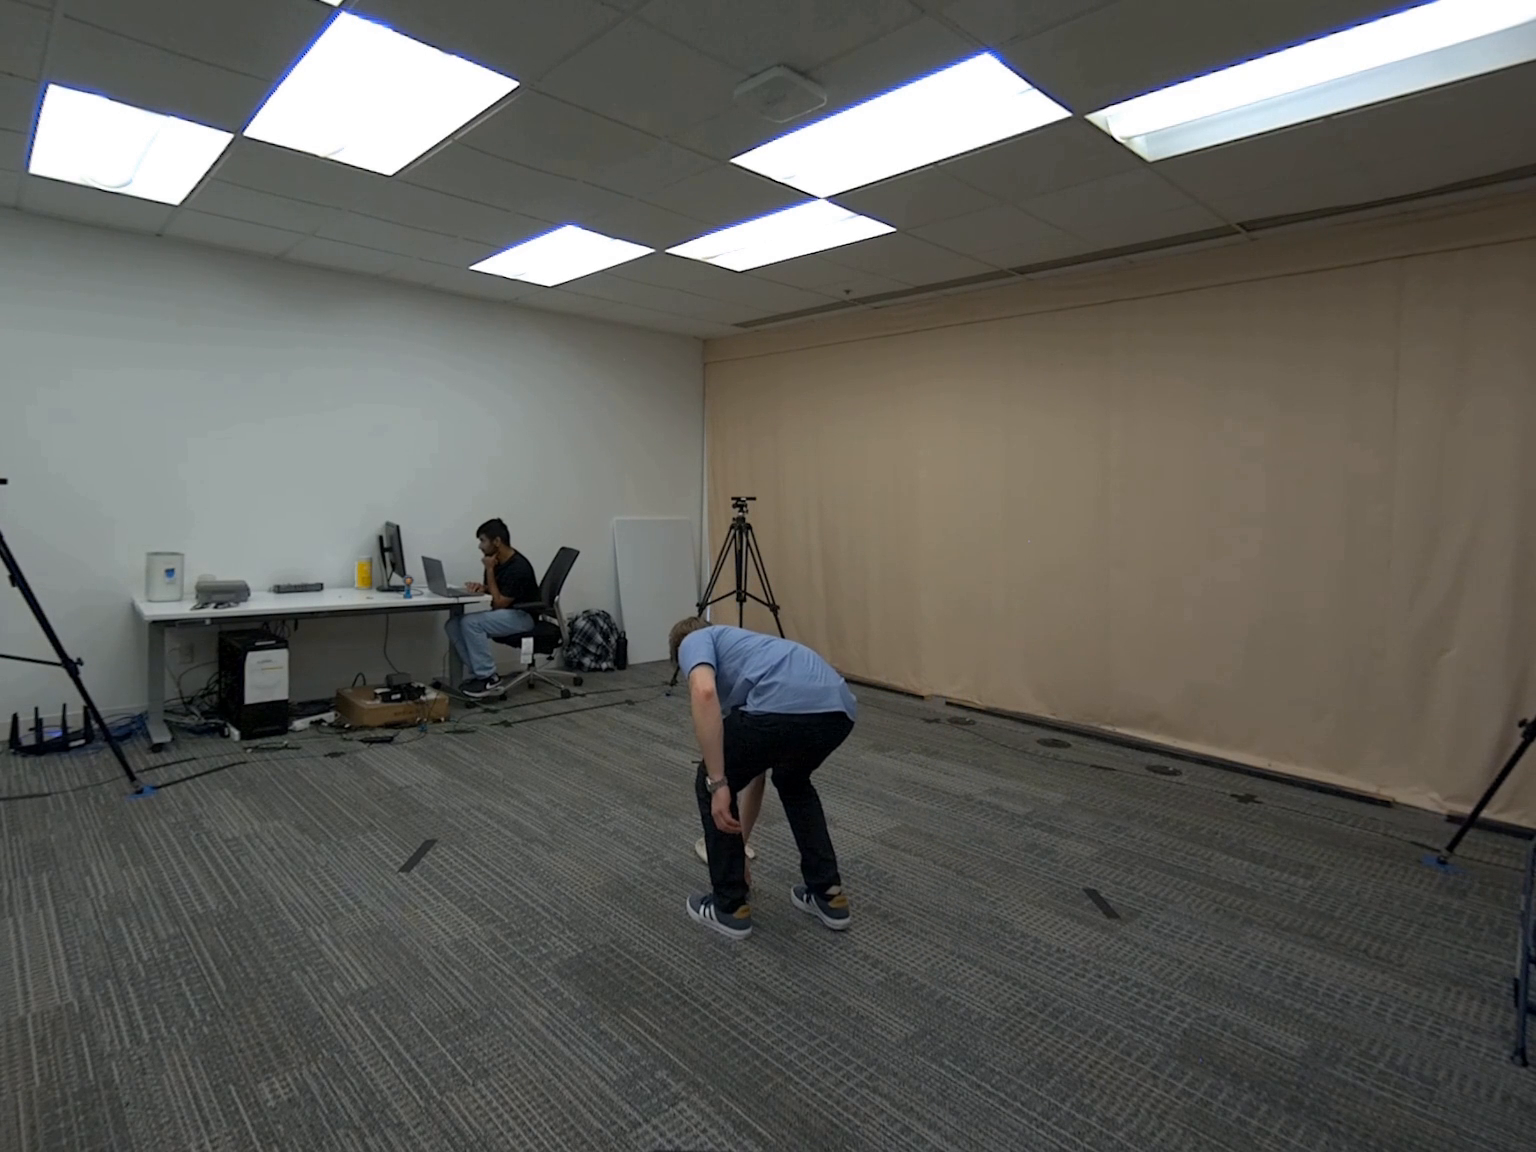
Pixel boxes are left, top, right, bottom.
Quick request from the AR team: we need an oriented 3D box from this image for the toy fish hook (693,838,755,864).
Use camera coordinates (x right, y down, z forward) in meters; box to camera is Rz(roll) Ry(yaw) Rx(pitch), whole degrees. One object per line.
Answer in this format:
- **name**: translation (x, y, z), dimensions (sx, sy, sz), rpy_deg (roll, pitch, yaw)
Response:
- **toy fish hook**: translation (-0.132, 1.086, 3.149), dimensions (0.222, 0.048, 0.515), rpy_deg (-1, 6, -17)
